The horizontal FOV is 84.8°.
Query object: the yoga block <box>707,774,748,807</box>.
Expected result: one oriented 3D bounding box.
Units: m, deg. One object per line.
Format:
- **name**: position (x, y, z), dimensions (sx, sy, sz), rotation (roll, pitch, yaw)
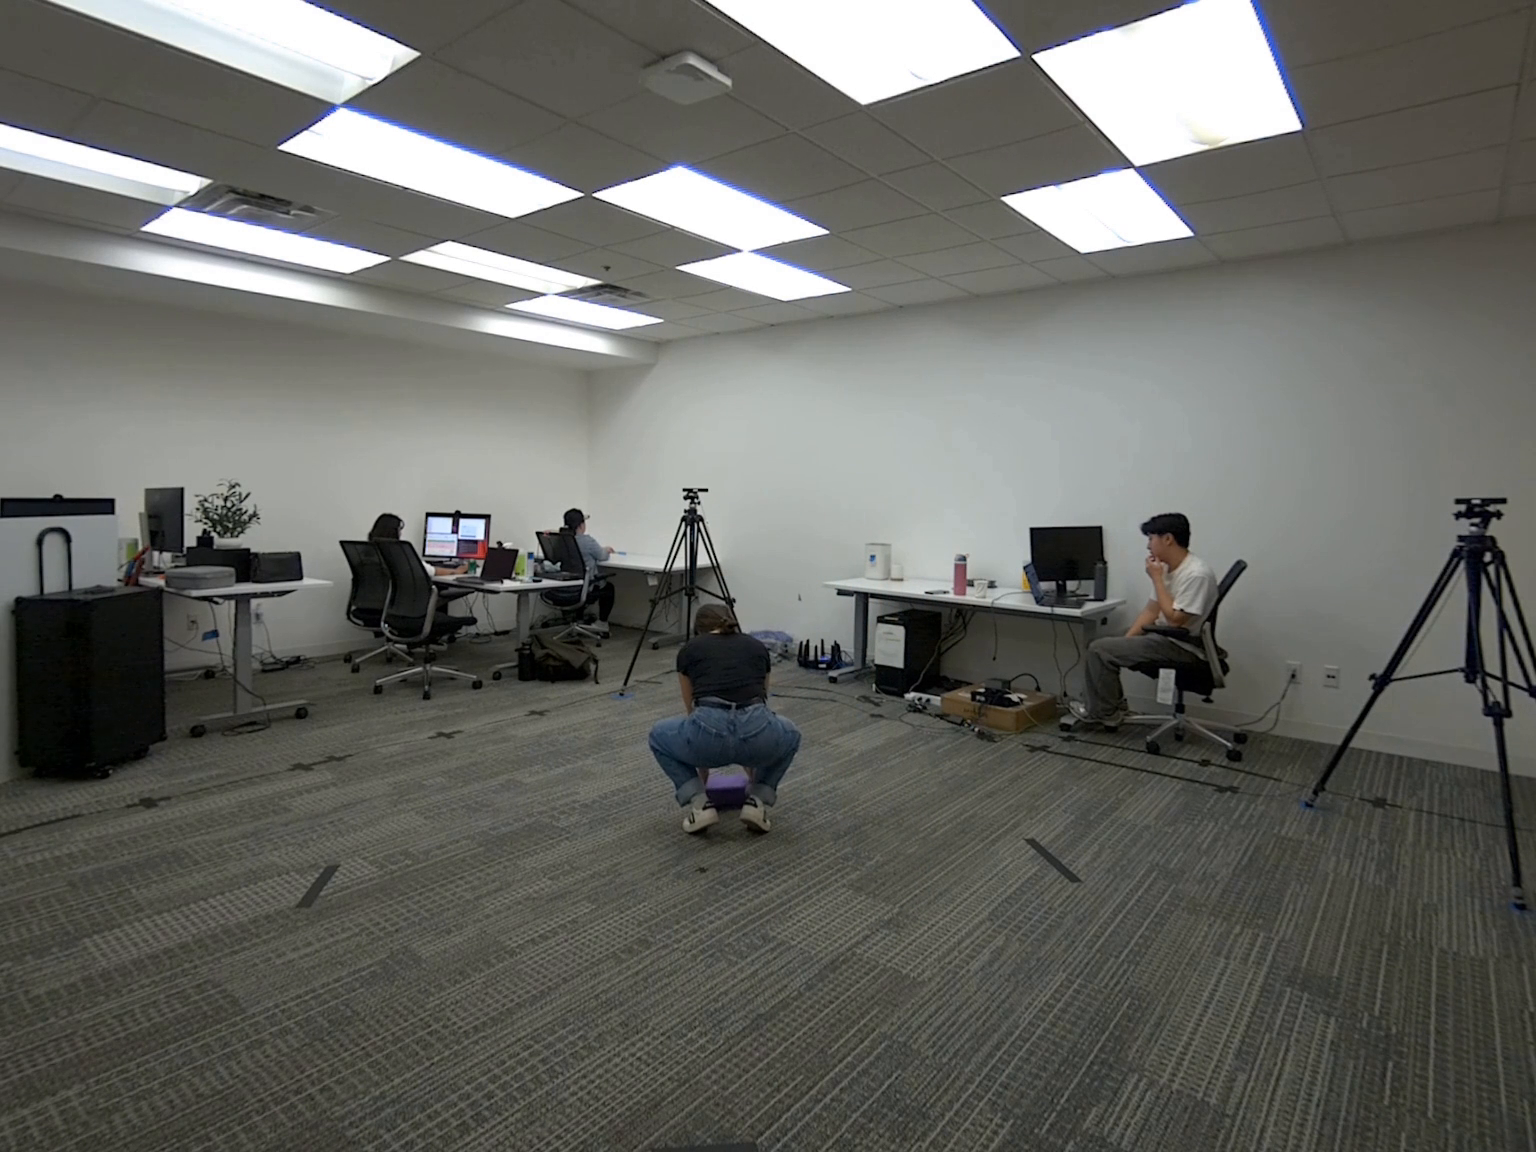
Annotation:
- **yoga block**: position (-0.180, 0.925, 3.776), dimensions (0.225, 0.076, 0.152), rotation (0, 7, -17)
